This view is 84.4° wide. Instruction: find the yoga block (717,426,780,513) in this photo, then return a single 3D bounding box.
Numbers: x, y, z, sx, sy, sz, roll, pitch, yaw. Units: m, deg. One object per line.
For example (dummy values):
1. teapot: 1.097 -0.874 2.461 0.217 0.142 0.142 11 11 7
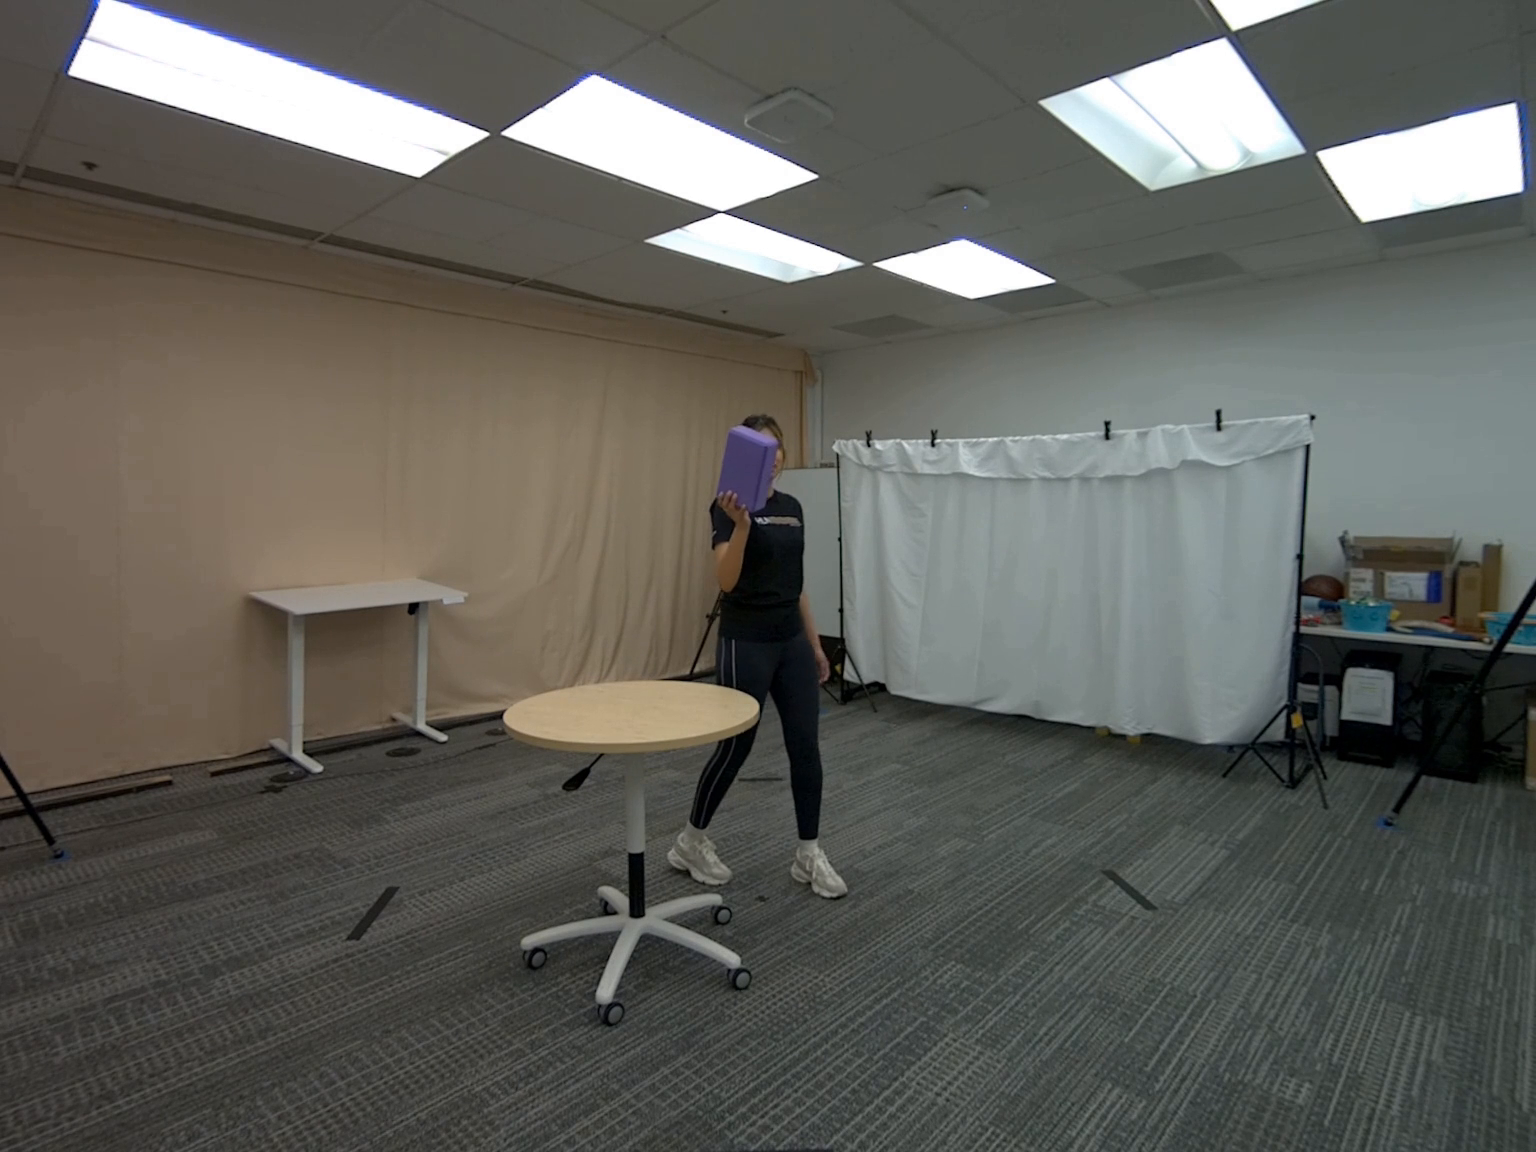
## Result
1. yoga block: -0.070 -0.328 2.579 0.153 0.227 0.075 26 31 25
